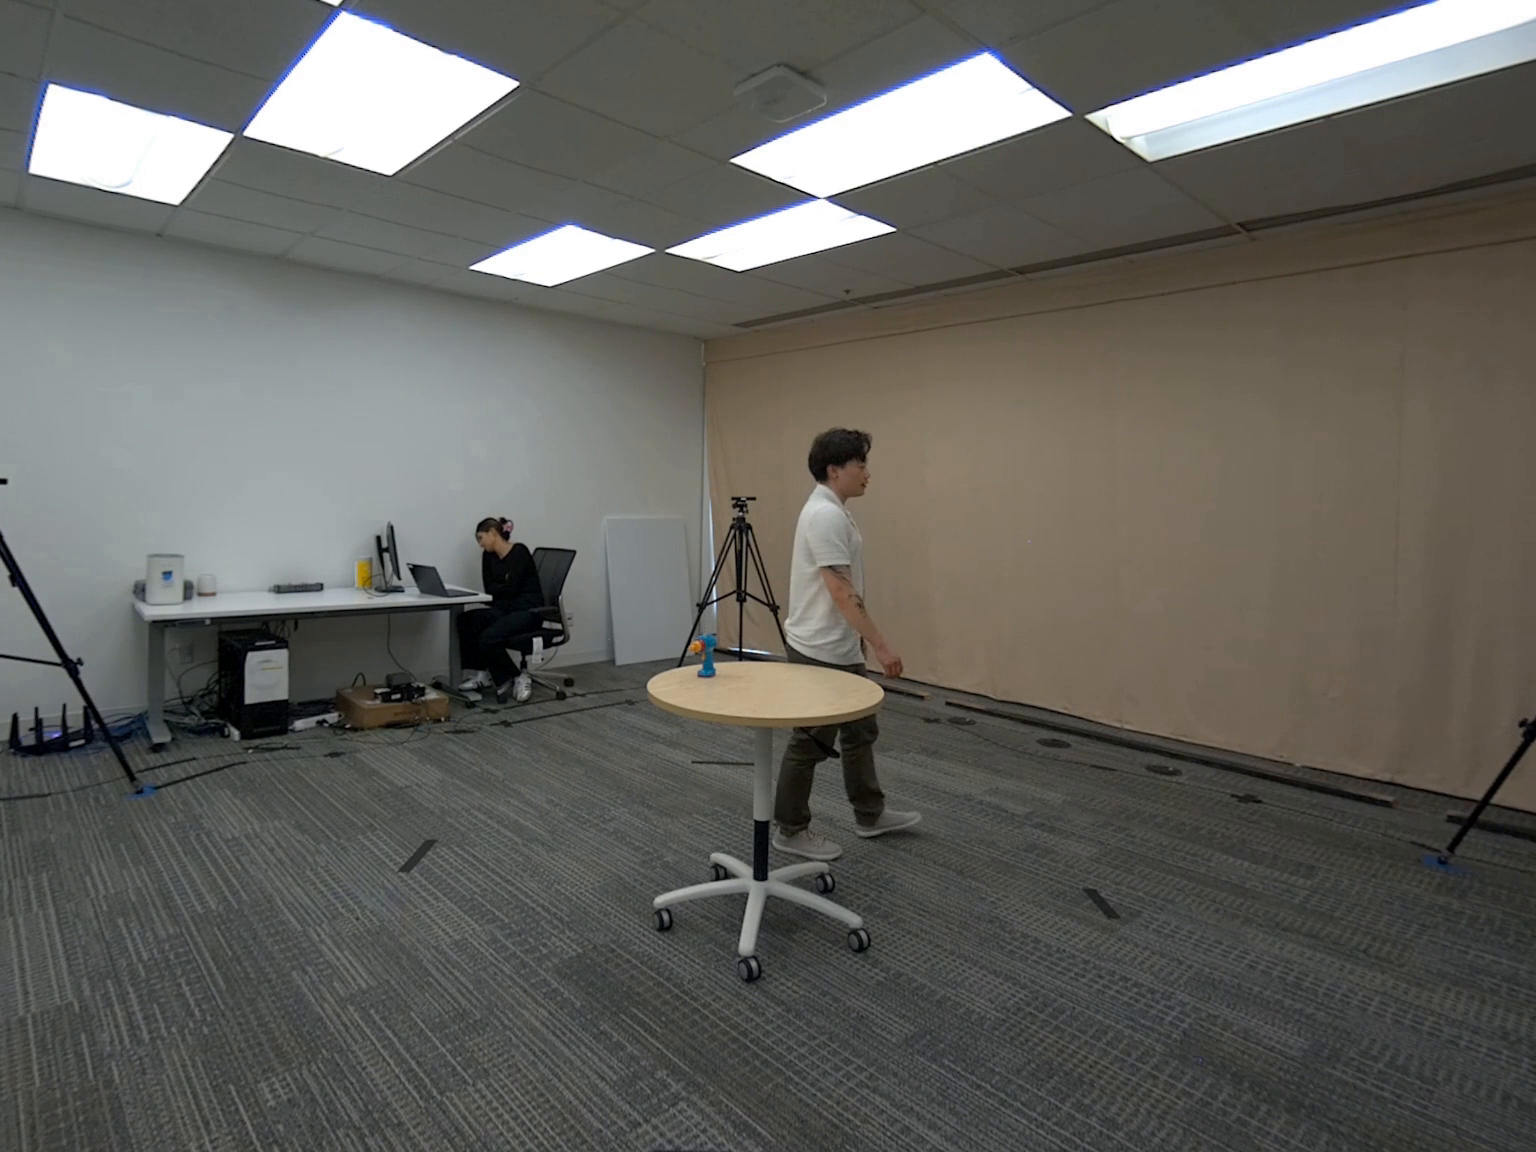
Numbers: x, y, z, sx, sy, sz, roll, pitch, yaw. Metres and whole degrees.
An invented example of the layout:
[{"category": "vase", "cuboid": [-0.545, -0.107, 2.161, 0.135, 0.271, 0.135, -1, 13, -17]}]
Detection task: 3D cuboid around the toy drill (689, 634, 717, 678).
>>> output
[{"category": "toy drill", "cuboid": [-0.225, 0.273, 2.826, 0.062, 0.145, 0.168, 3, 6, 18]}]
